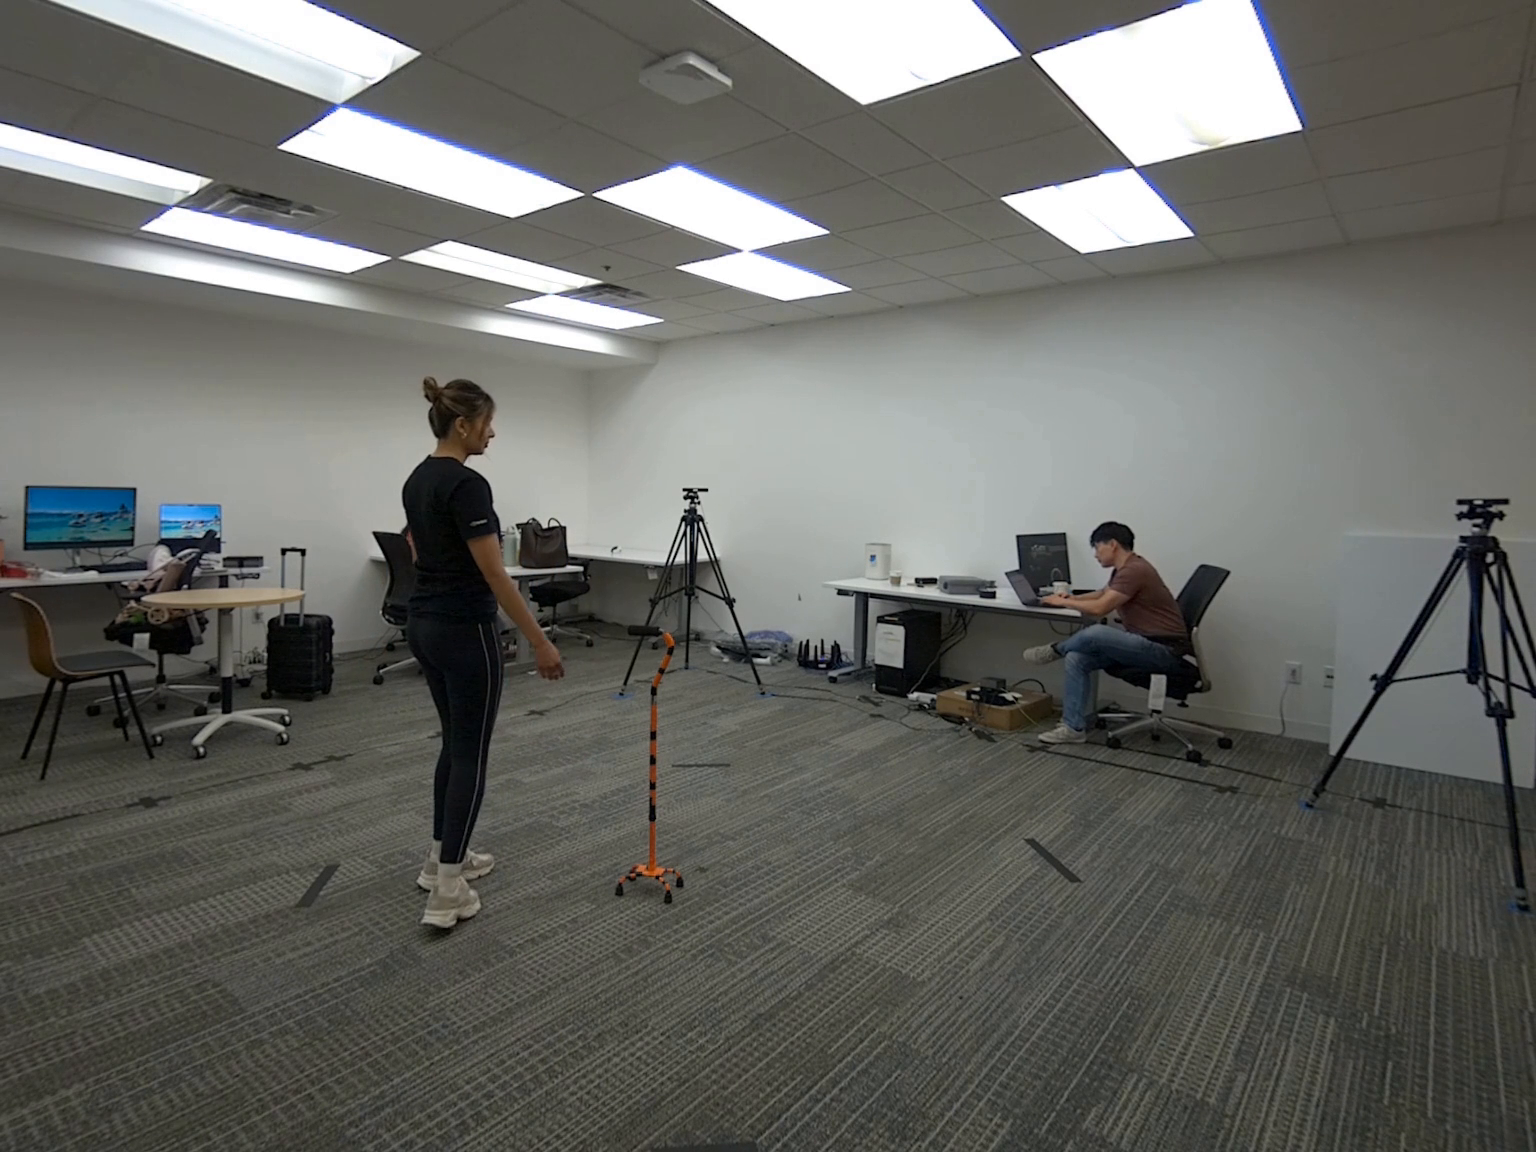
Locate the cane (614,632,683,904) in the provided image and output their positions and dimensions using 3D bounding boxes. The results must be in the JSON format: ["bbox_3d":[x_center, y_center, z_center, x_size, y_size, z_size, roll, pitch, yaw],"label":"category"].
[{"bbox_3d":[-0.398,0.633,2.920,0.209,0.906,0.150,3,2,11],"label":"cane"}]
